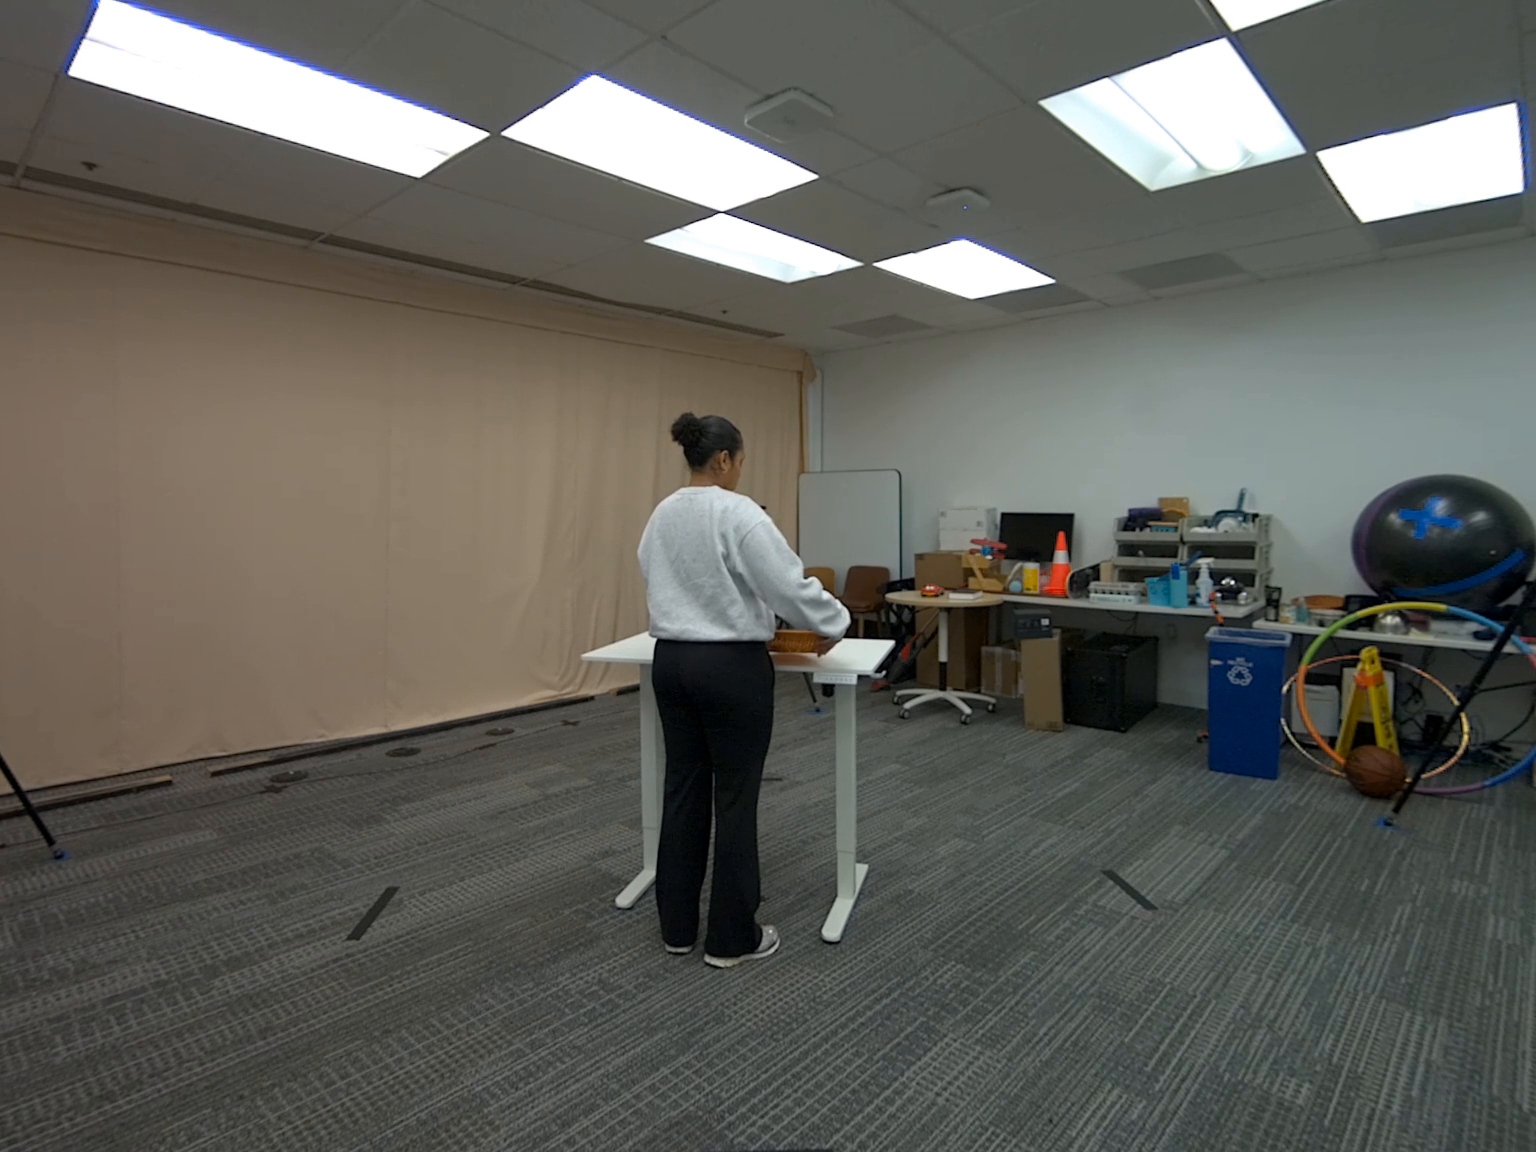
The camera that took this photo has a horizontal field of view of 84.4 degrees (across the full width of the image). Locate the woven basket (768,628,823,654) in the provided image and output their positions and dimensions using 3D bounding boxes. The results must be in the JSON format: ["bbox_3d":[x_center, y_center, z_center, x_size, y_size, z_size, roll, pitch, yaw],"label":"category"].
[{"bbox_3d":[0.072,0.224,2.775,0.249,0.073,0.354,1,-2,-11],"label":"woven basket"}]
